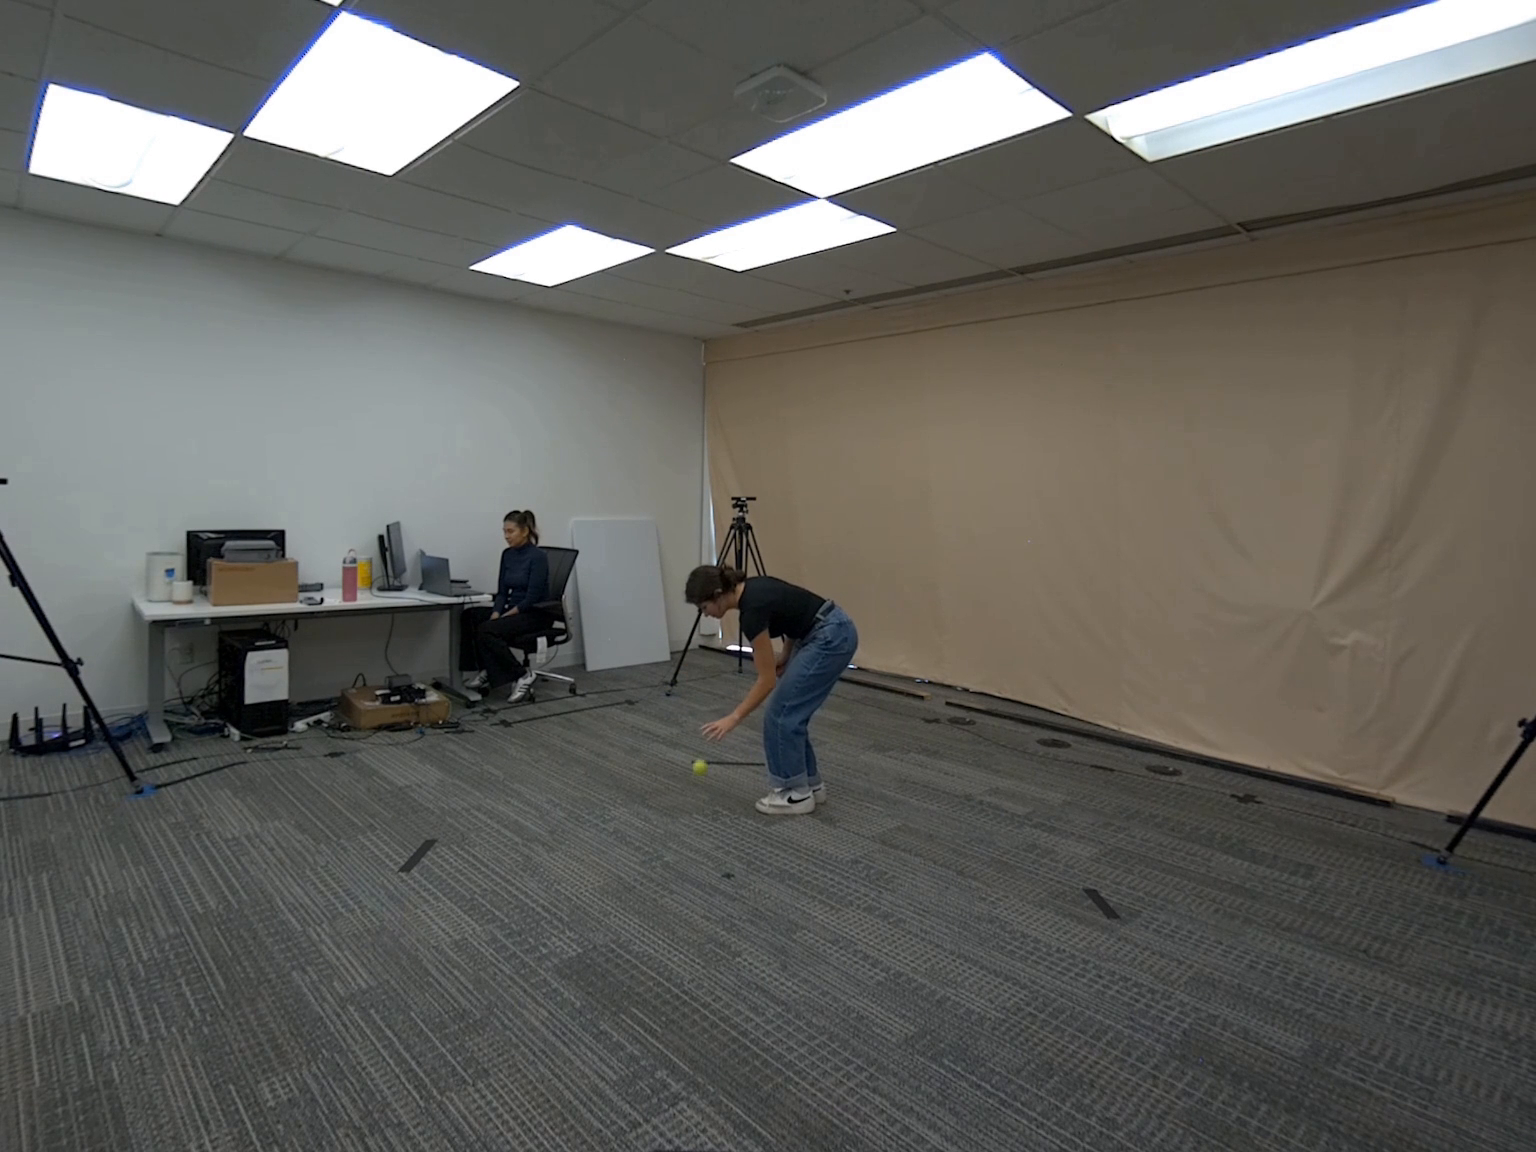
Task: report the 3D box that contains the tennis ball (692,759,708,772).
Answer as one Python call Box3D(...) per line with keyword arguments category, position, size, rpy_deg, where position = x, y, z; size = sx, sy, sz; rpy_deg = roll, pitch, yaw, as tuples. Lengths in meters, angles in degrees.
Box3D(category="tennis ball", position=(-0.317, 0.778, 3.707), size=(0.066, 0.066, 0.067), rpy_deg=(1, 4, -1))
